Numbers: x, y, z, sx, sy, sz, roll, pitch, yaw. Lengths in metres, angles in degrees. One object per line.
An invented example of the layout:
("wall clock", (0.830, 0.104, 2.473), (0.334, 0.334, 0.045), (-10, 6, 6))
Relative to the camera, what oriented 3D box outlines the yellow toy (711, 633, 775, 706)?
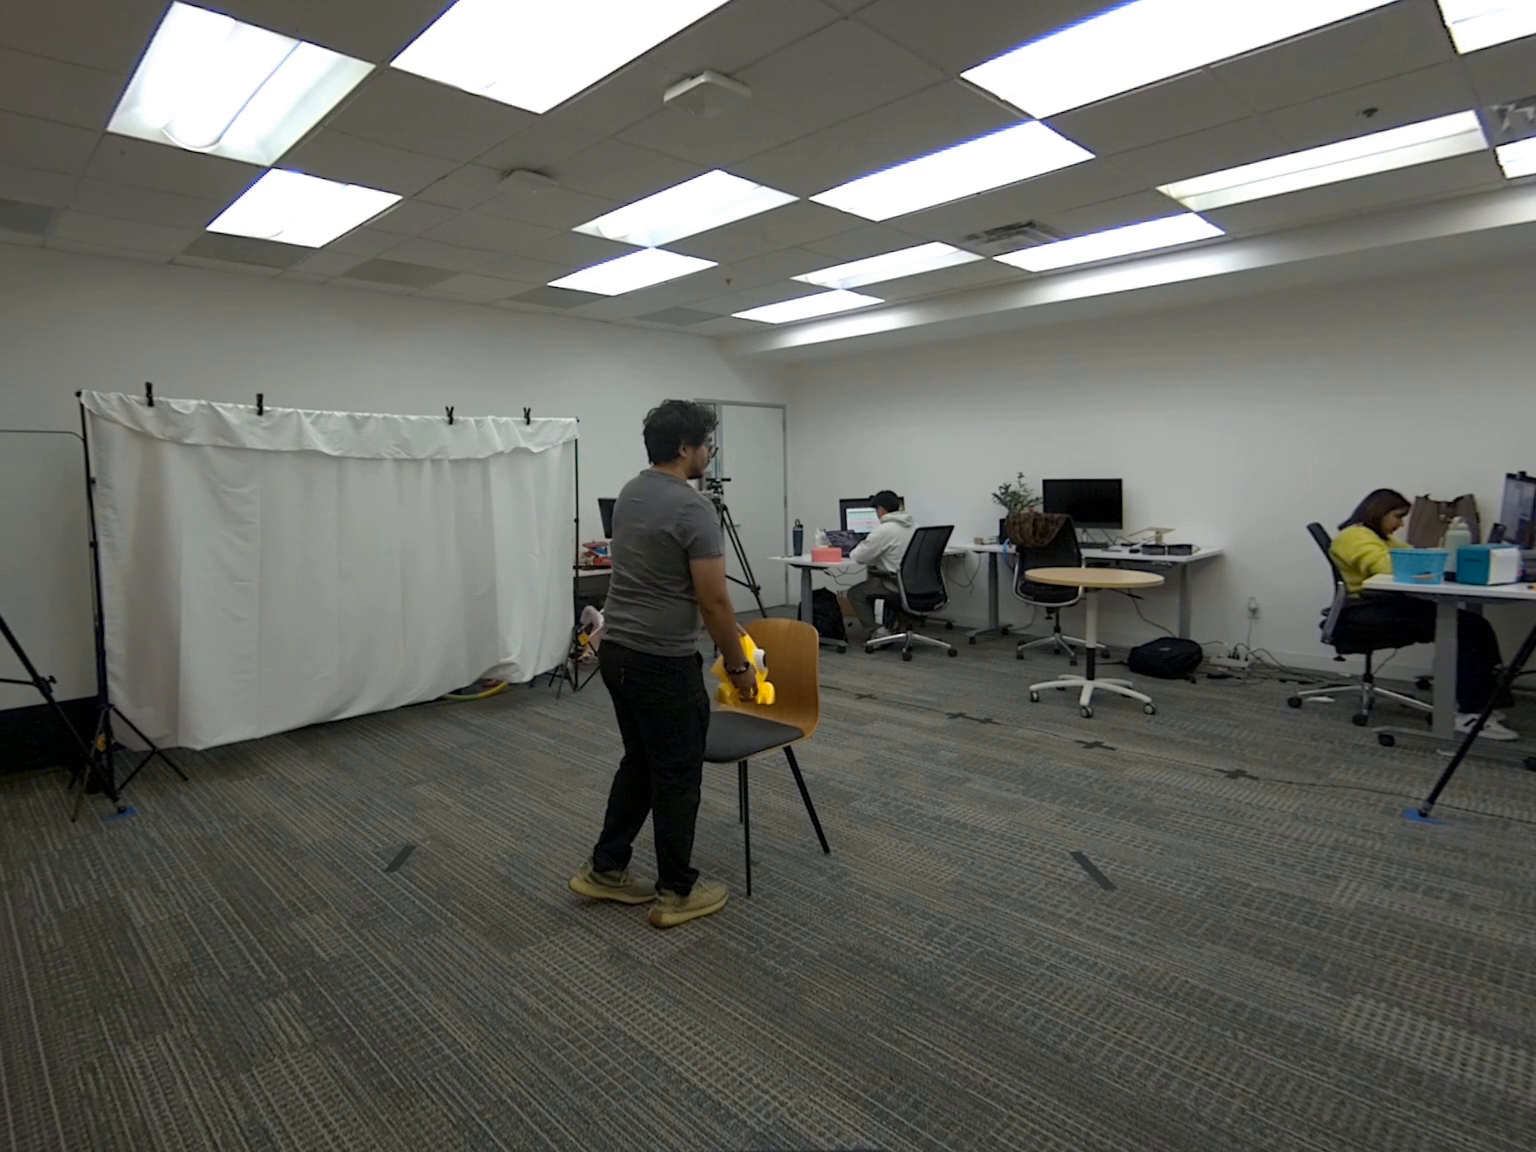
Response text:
("yellow toy", (-0.079, 0.298, 2.881), (0.202, 0.230, 0.196), (1, 2, -13))
